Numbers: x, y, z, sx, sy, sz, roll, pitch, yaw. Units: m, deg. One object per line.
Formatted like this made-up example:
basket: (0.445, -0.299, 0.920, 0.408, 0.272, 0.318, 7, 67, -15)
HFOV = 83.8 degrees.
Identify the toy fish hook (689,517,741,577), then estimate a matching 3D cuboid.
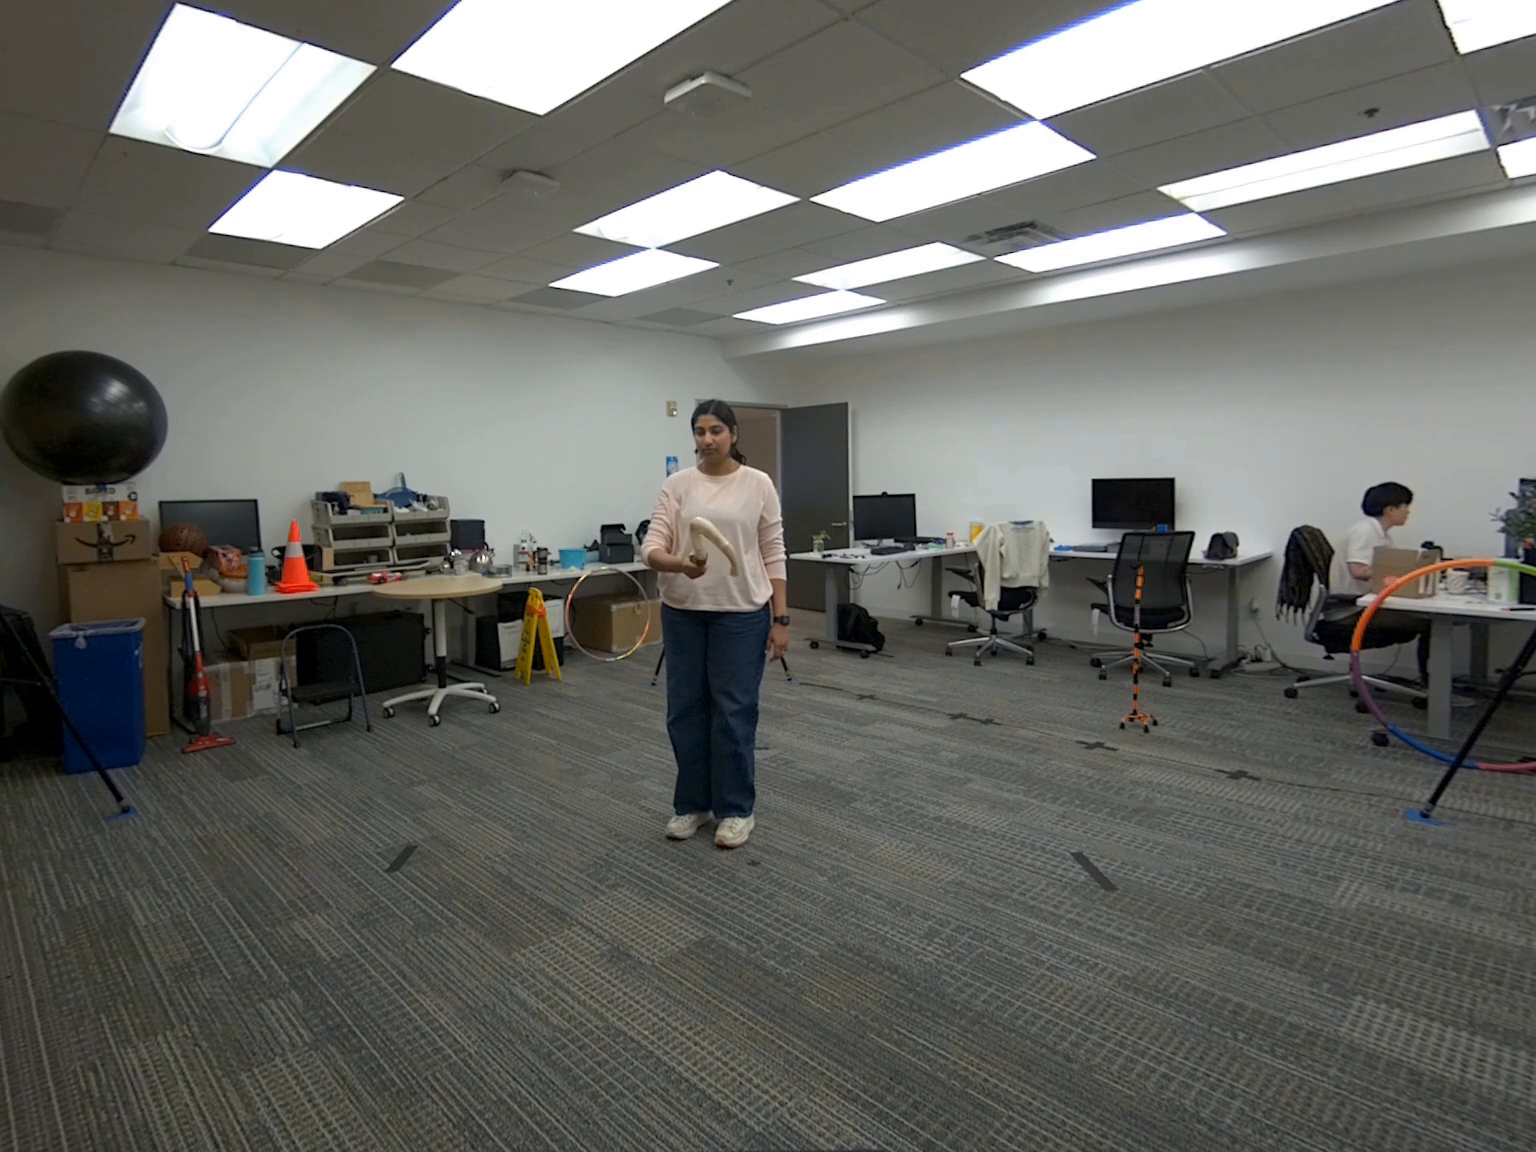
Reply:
toy fish hook: (-0.203, -0.074, 2.825, 0.048, 0.228, 0.501, -34, -11, -16)
